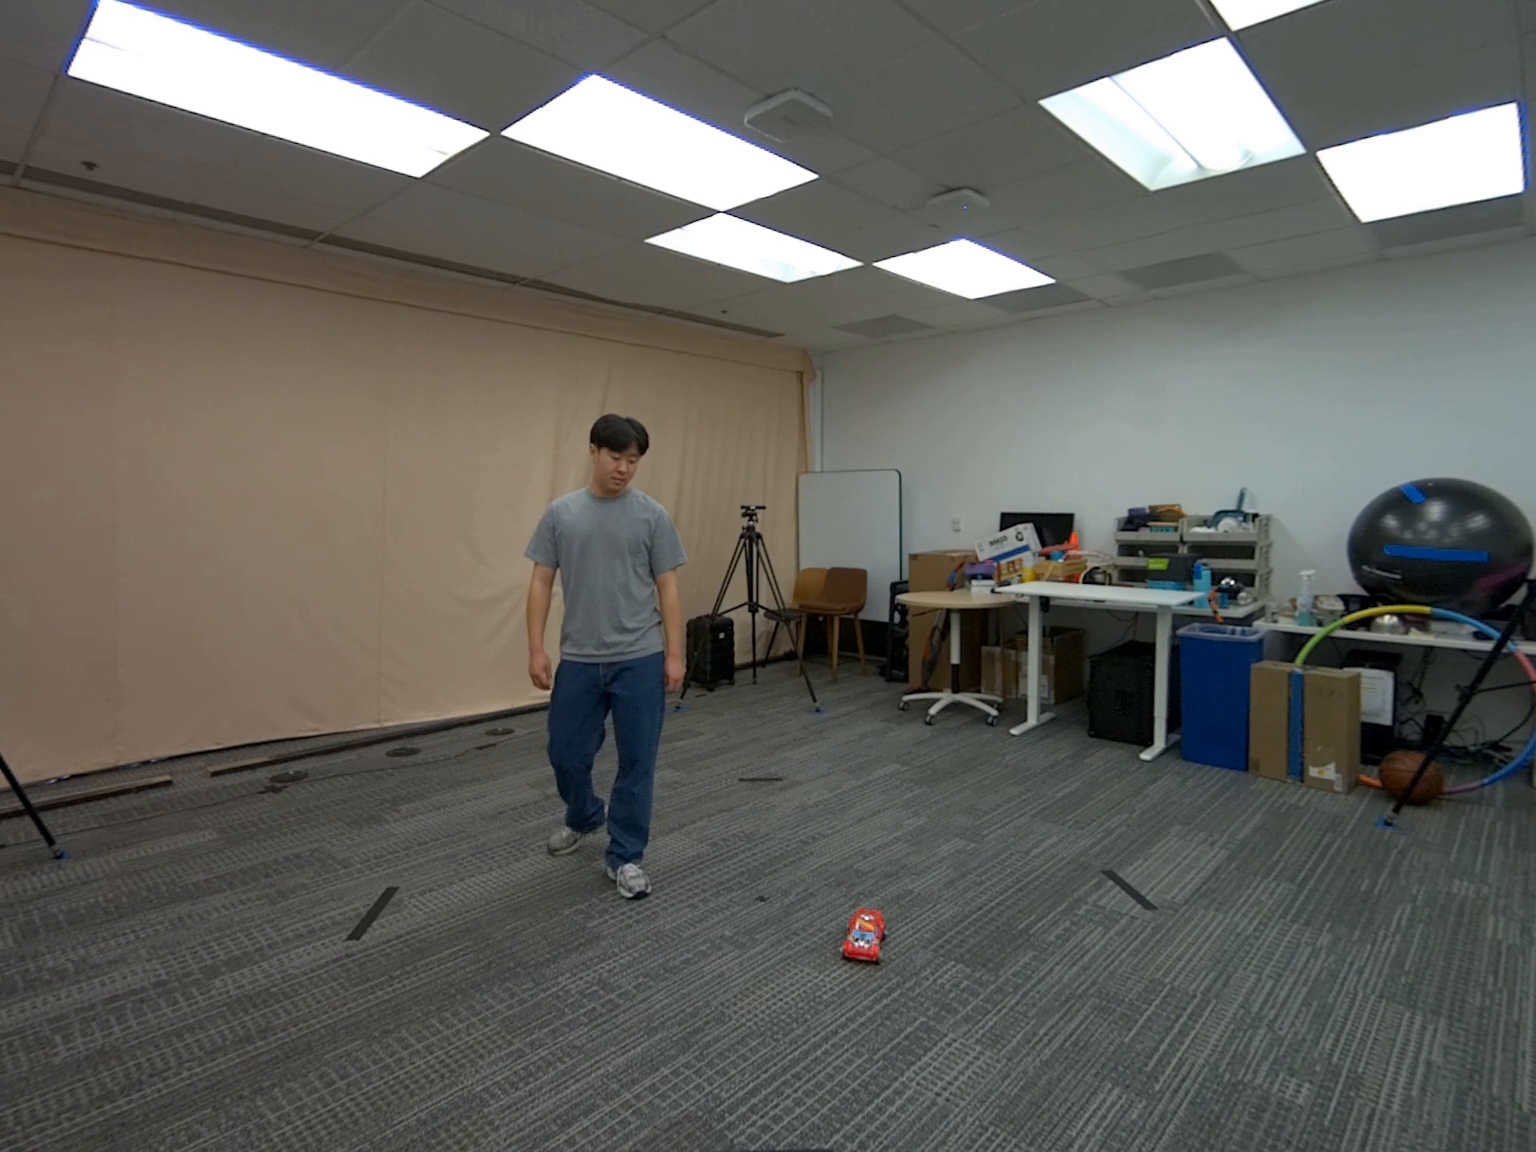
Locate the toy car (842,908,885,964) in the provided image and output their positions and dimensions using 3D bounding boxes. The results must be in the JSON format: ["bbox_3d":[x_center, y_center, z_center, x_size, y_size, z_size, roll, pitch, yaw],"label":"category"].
[{"bbox_3d":[0.312,1.137,2.660,0.132,0.082,0.253,1,16,15],"label":"toy car"}]
